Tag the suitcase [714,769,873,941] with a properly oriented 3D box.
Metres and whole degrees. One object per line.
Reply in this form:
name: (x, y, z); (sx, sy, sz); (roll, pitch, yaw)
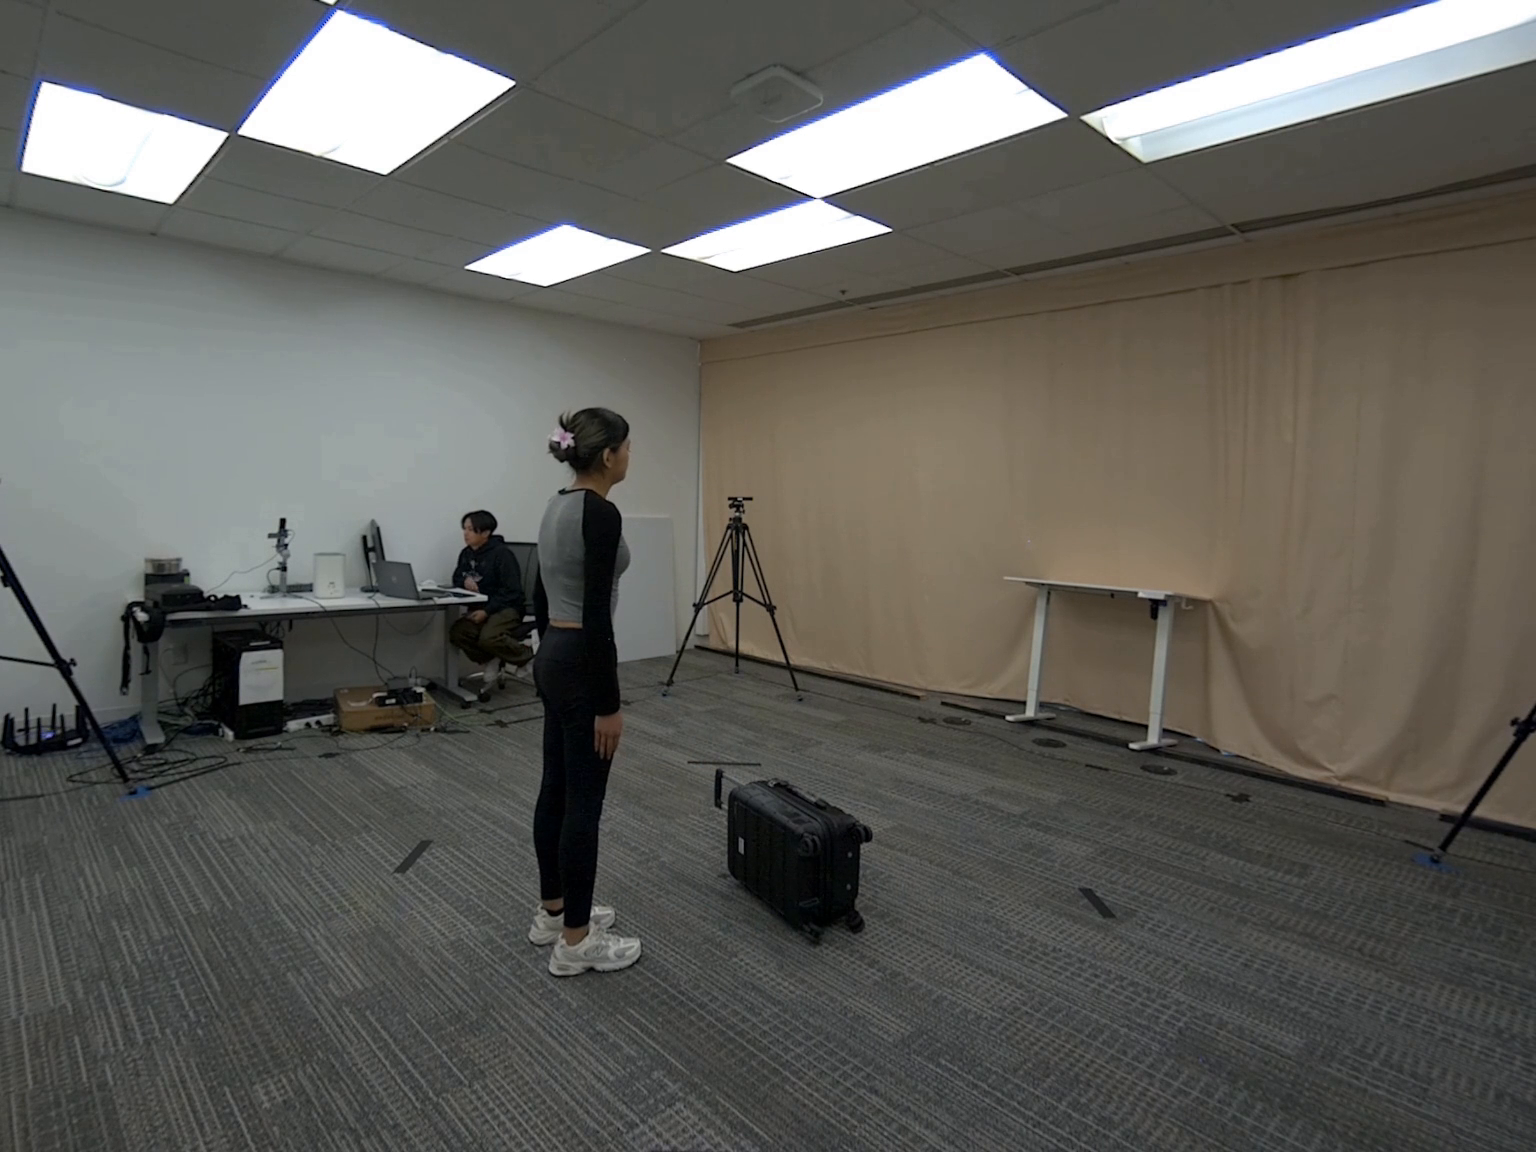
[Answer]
suitcase: (-0.044, 0.922, 3.072); (0.252, 0.383, 1.002); (-1, 6, -33)
